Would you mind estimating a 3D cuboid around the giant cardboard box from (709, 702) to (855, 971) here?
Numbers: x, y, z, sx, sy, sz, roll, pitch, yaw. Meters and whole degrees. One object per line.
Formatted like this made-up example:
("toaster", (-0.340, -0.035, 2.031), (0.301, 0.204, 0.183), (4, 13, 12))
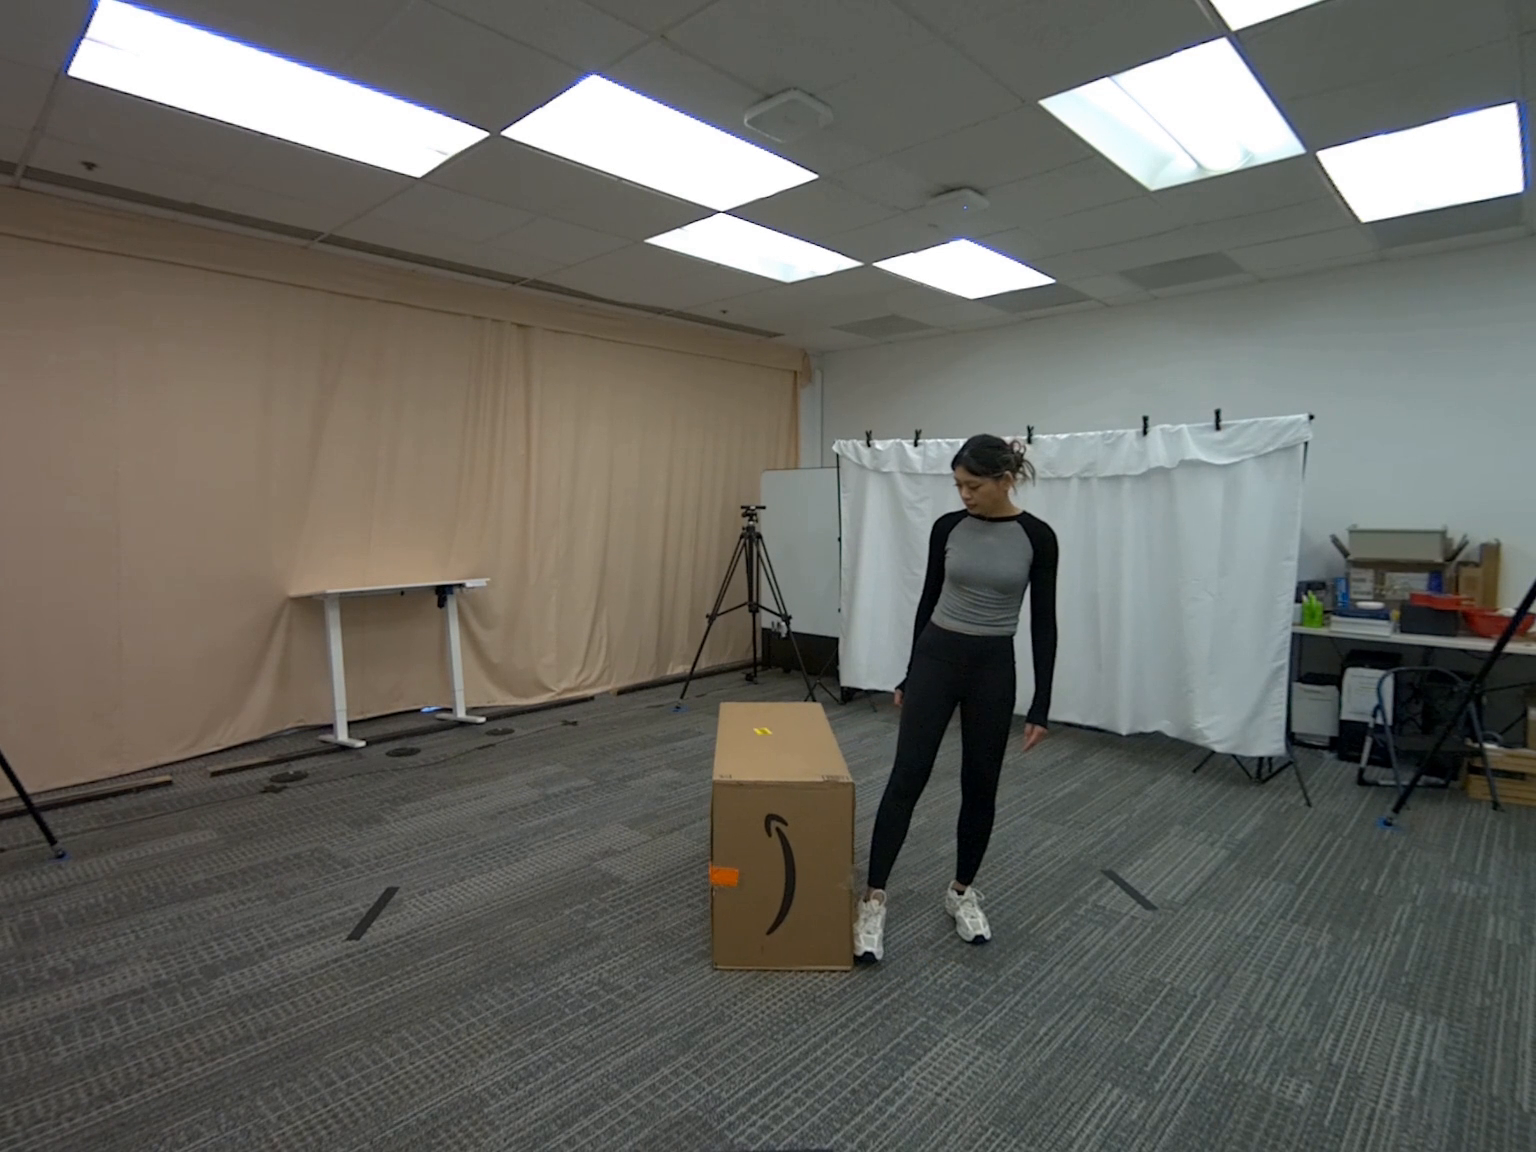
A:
("giant cardboard box", (0.026, 0.852, 3.016), (0.426, 0.576, 1.028), (1, 4, -2))
